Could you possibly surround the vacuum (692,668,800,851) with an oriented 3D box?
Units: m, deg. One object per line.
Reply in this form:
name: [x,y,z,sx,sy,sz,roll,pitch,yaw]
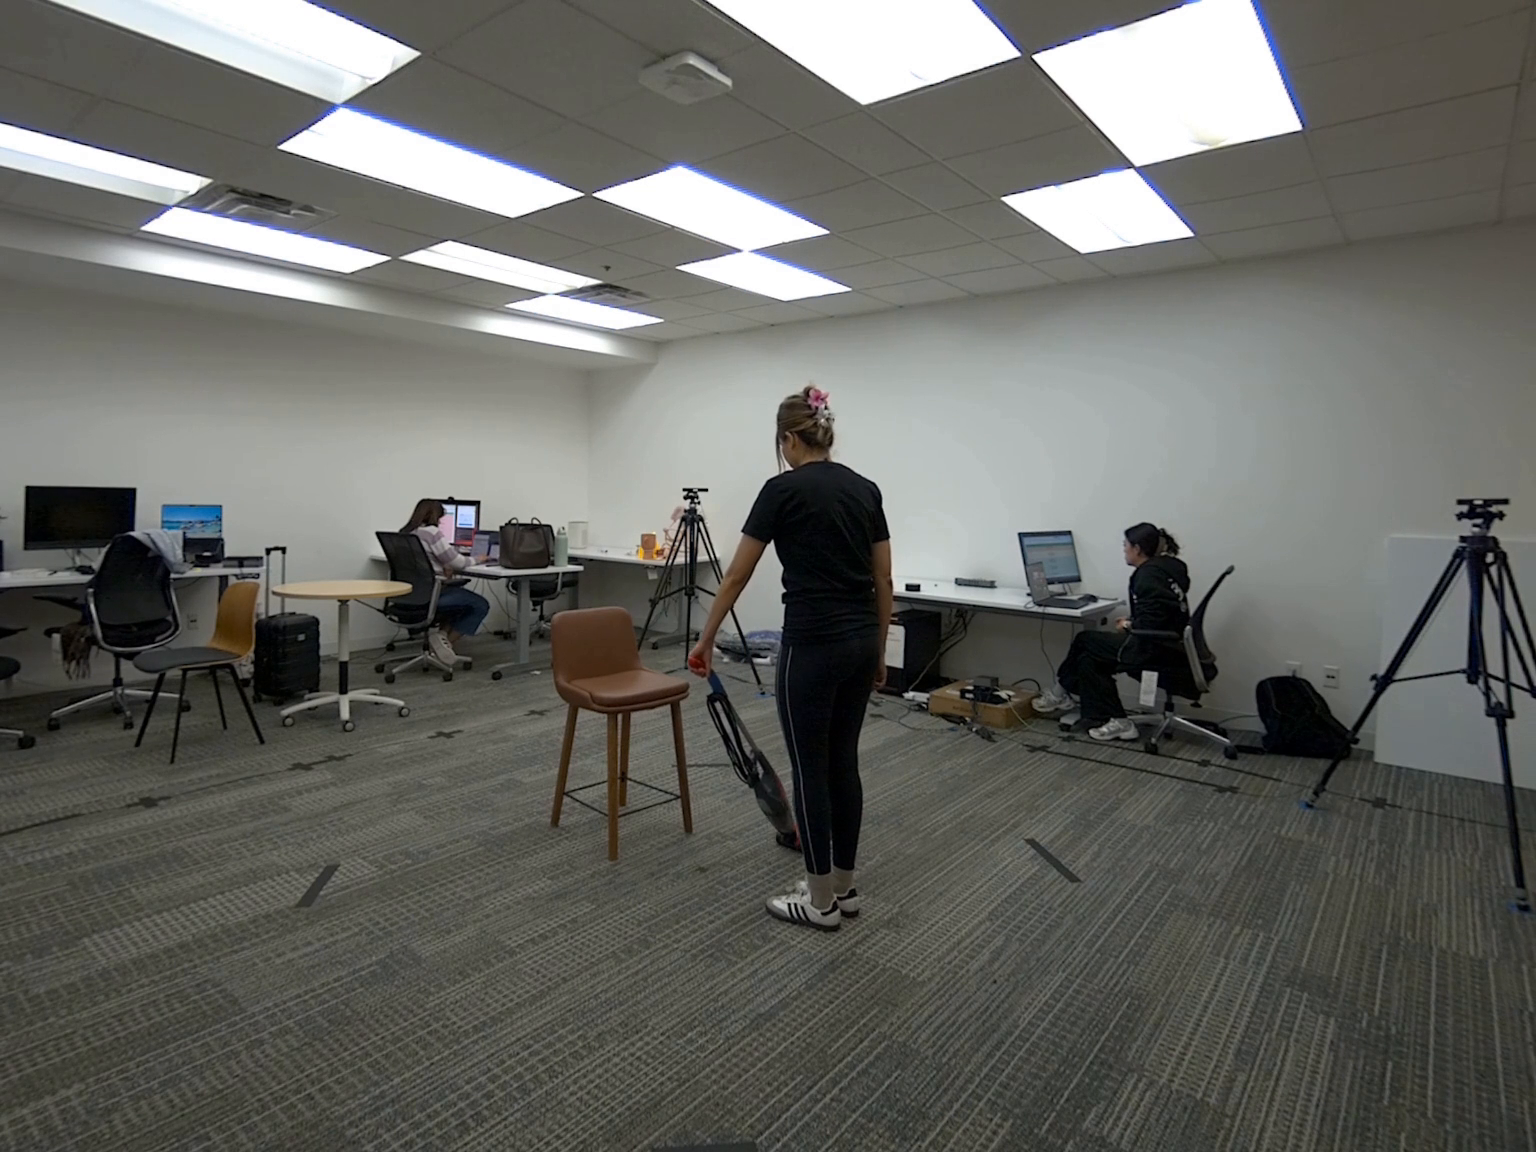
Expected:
vacuum: [-0.081,0.656,3.070,0.260,1.010,0.145,1,44,36]
